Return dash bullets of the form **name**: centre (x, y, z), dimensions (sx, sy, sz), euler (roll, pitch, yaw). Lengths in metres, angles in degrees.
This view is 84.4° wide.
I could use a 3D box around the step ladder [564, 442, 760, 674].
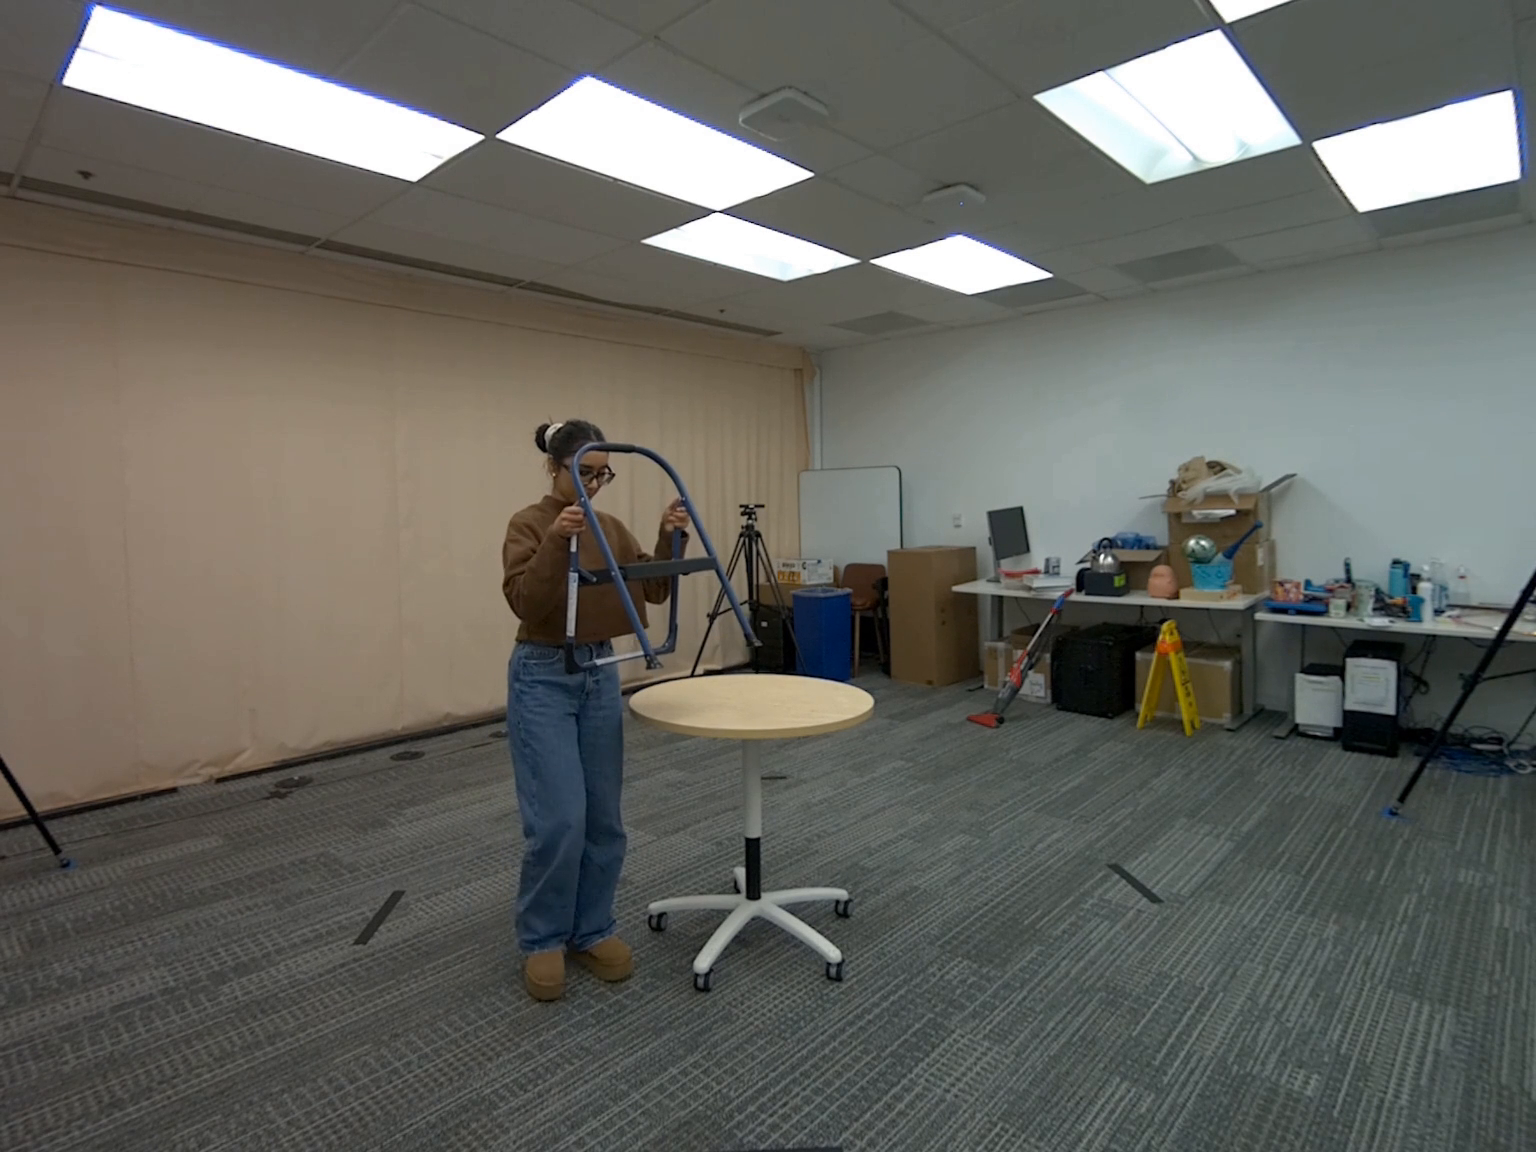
- **step ladder**: centre (-0.319, -0.075, 2.273), dimensions (0.359, 0.608, 0.418), euler (-10, -4, 38)
